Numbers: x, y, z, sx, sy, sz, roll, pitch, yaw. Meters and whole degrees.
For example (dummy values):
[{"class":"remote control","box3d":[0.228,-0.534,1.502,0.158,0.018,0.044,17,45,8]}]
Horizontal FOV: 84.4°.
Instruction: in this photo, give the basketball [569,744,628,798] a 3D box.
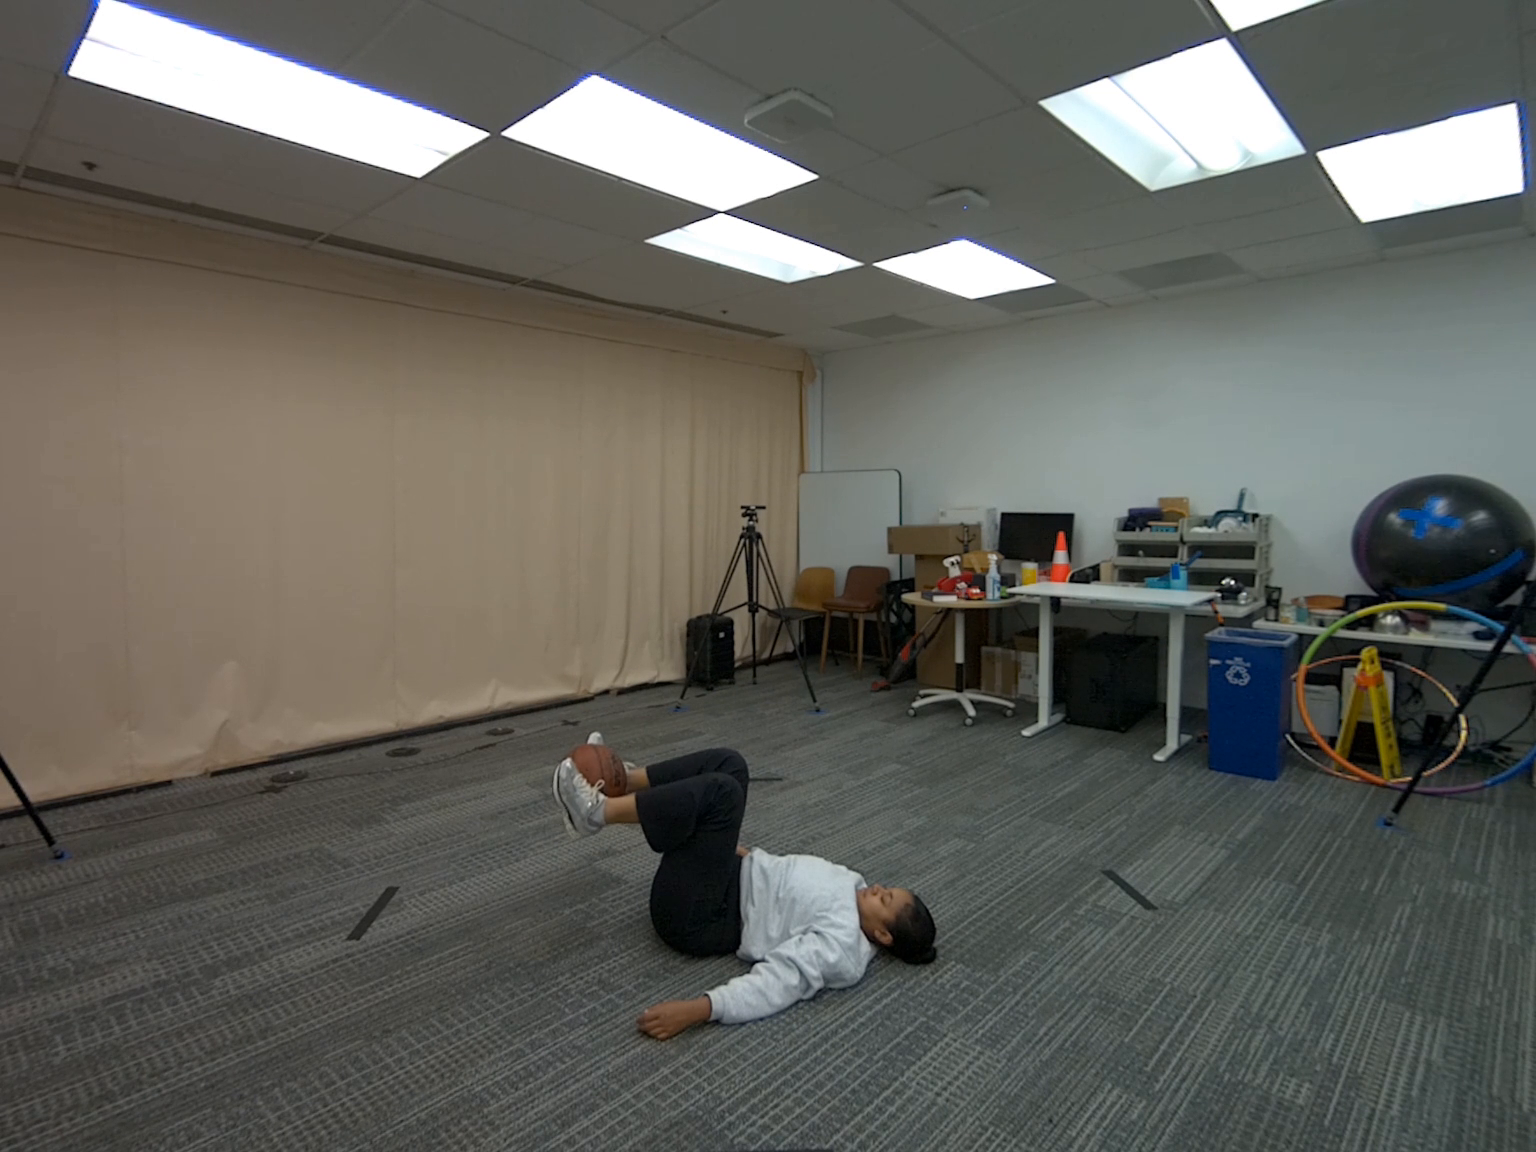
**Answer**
[{"class":"basketball","box3d":[-0.581,0.666,2.762,0.236,0.236,0.236,2,0,-2]}]
